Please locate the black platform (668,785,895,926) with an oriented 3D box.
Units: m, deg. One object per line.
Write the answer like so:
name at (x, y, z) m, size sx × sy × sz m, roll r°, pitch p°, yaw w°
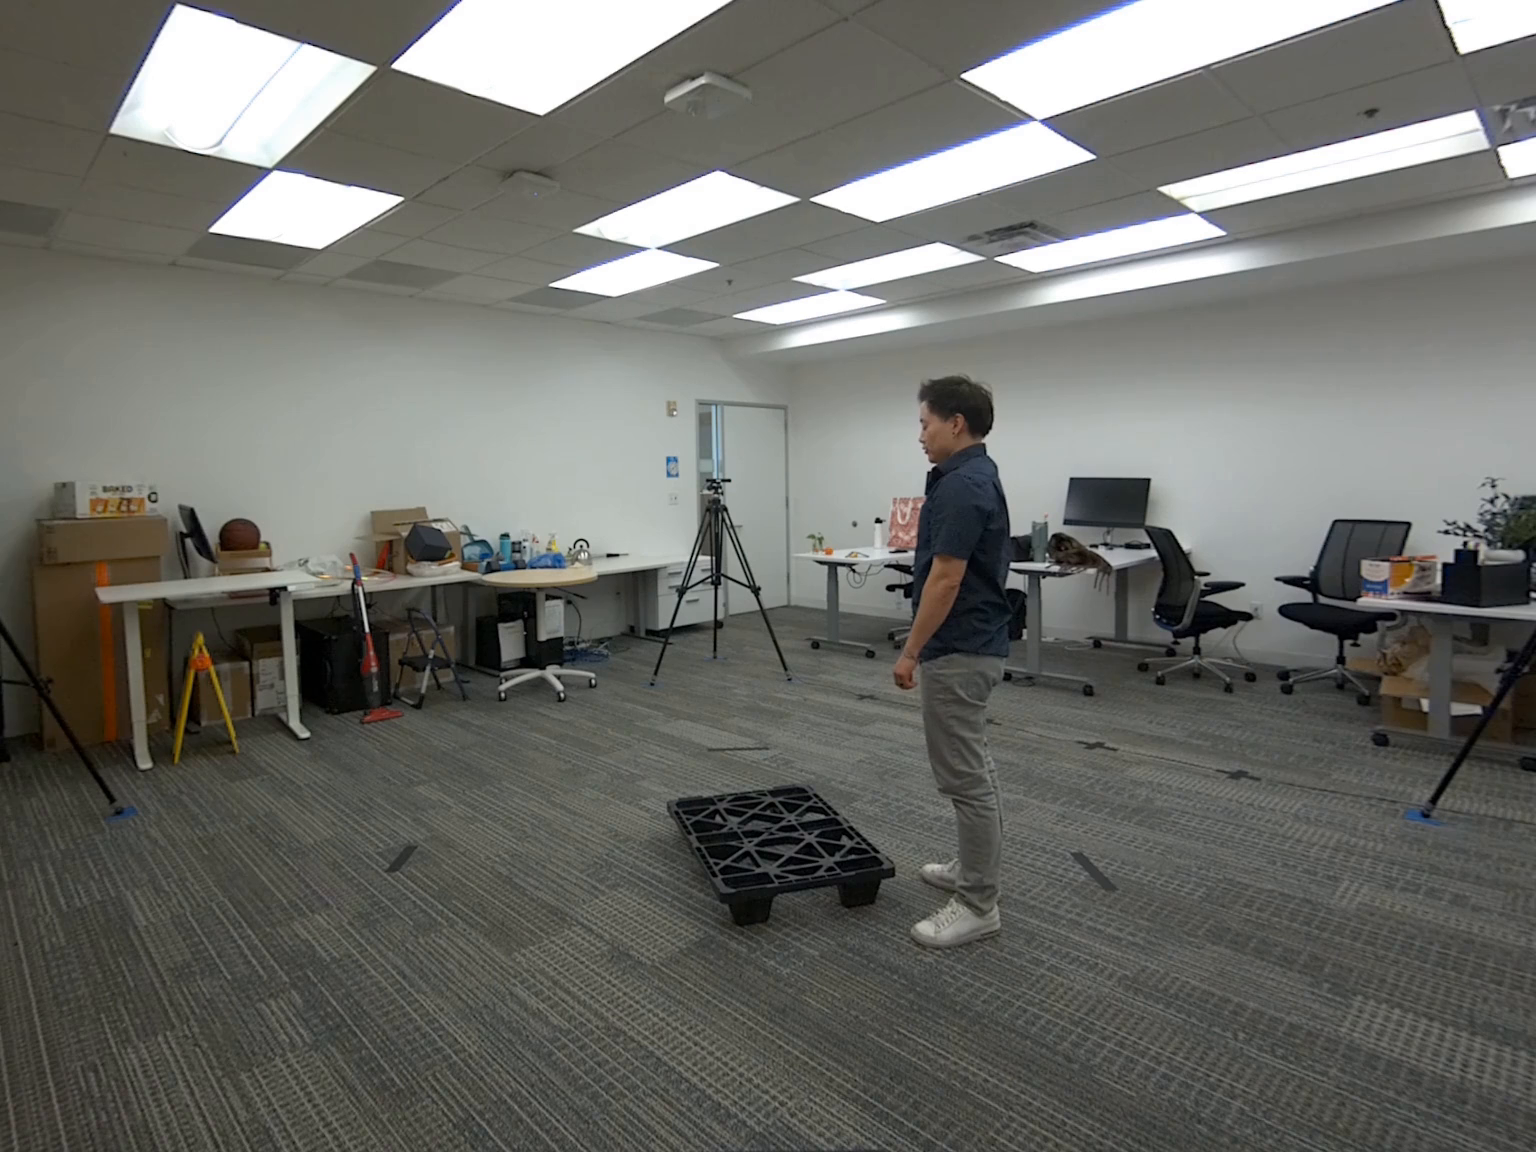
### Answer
black platform at (0.009, 0.978, 3.074) m, size 0.596 × 0.143 × 0.822 m, roll -4°, pitch 7°, yaw -18°
